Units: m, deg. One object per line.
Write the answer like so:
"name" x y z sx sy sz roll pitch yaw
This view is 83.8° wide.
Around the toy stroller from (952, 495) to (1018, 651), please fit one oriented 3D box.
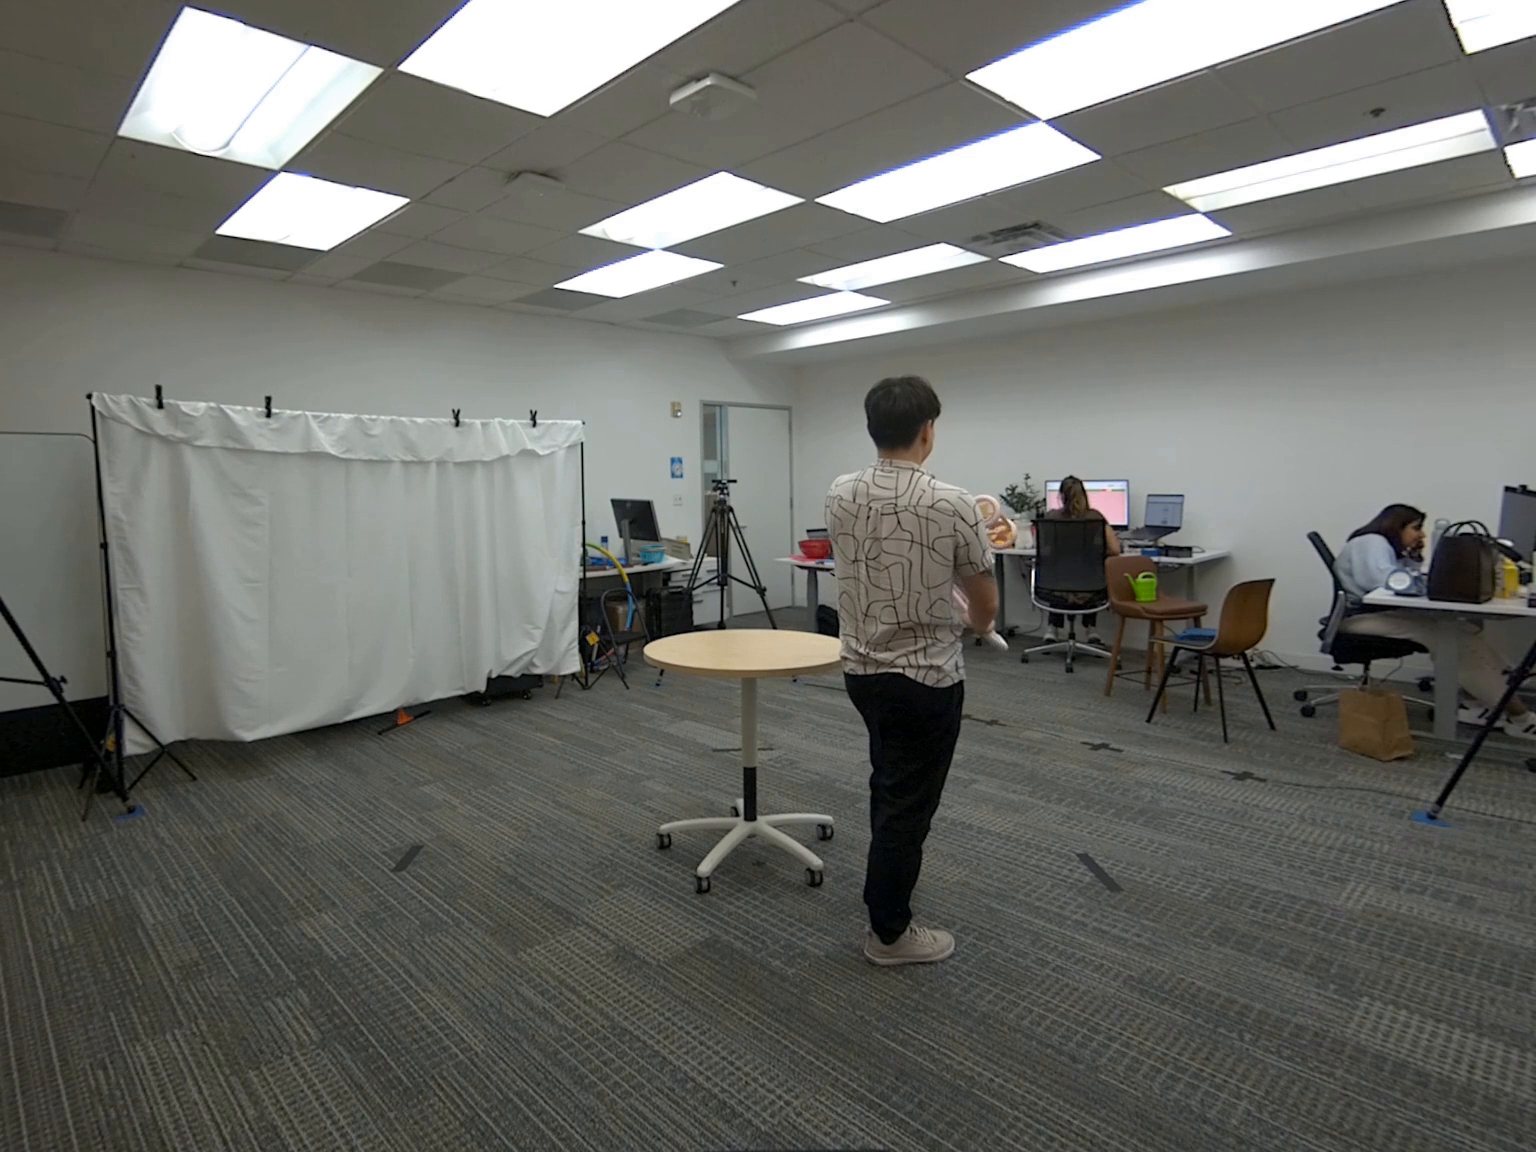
"toy stroller" 0.617 -0.036 2.802 0.349 0.540 0.272 3 -13 25
